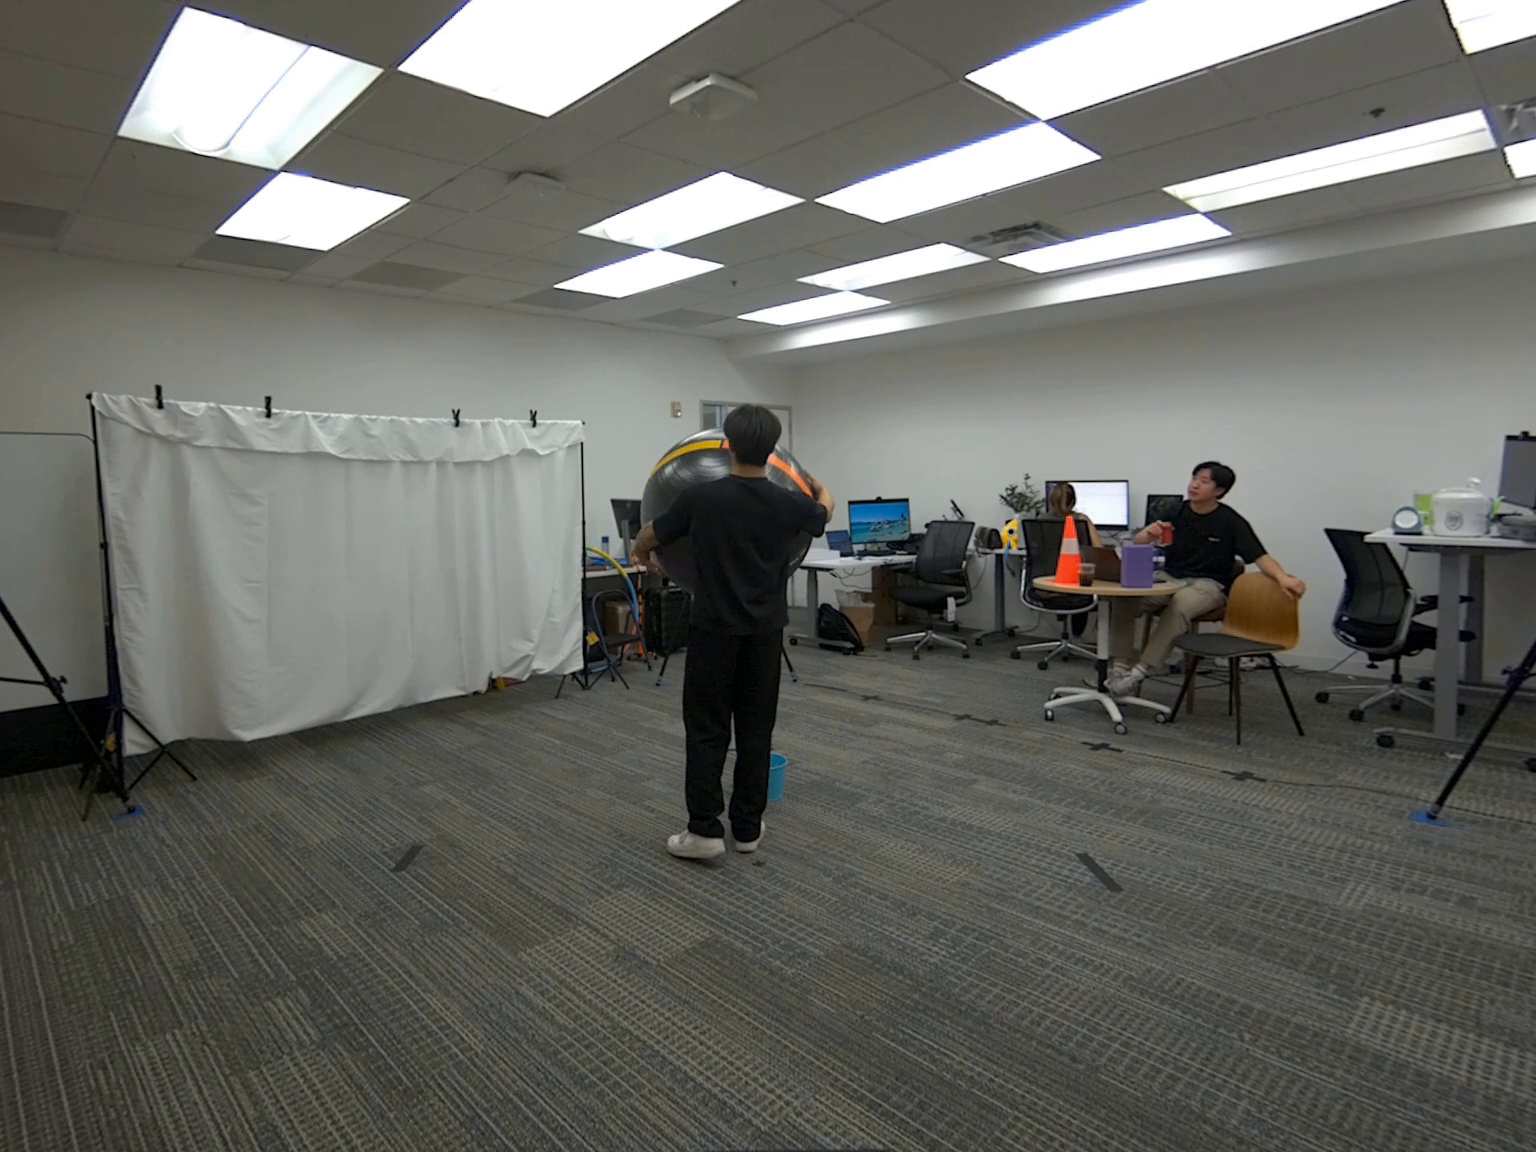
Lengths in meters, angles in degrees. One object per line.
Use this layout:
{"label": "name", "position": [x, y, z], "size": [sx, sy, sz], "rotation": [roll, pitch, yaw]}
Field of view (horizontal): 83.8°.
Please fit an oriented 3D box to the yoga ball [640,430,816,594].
{"label": "yoga ball", "position": [-0.178, -0.258, 3.733], "size": [0.757, 0.755, 0.762], "rotation": [-1, 5, -2]}
